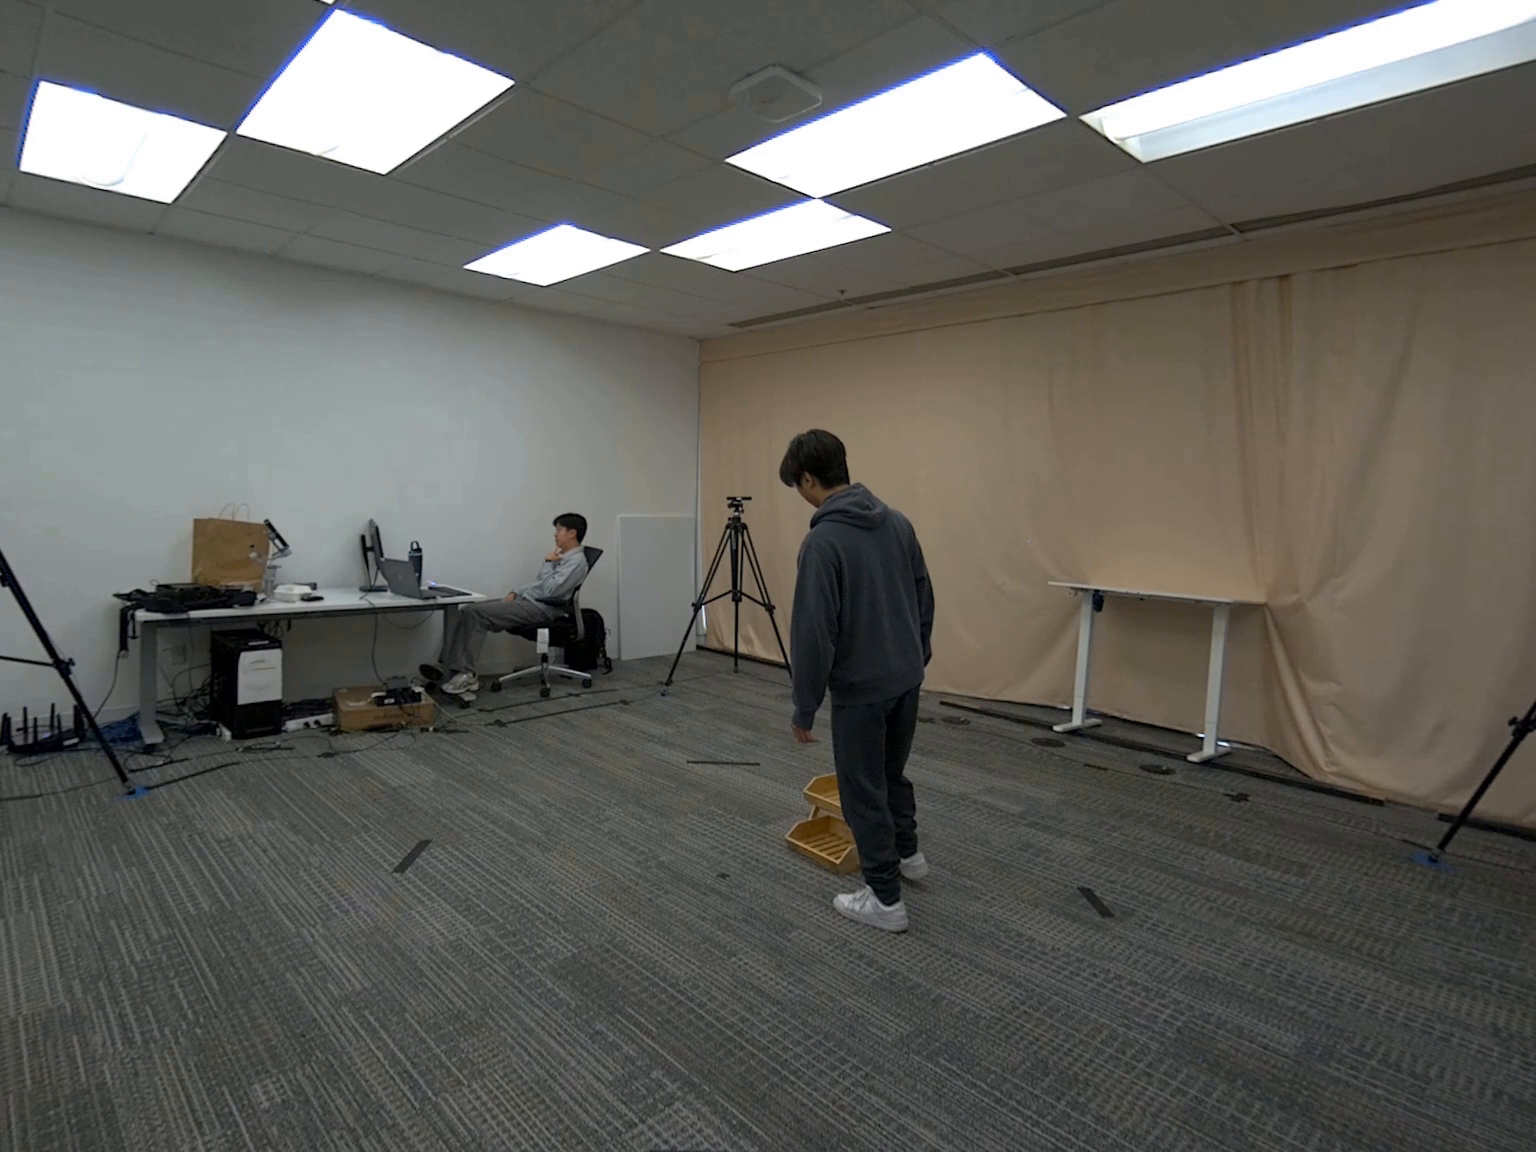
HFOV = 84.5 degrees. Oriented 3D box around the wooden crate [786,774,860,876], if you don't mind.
[{"bbox_3d":[0.273,0.962,3.323,0.295,0.273,0.333,0,4,-40],"label":"wooden crate"}]
